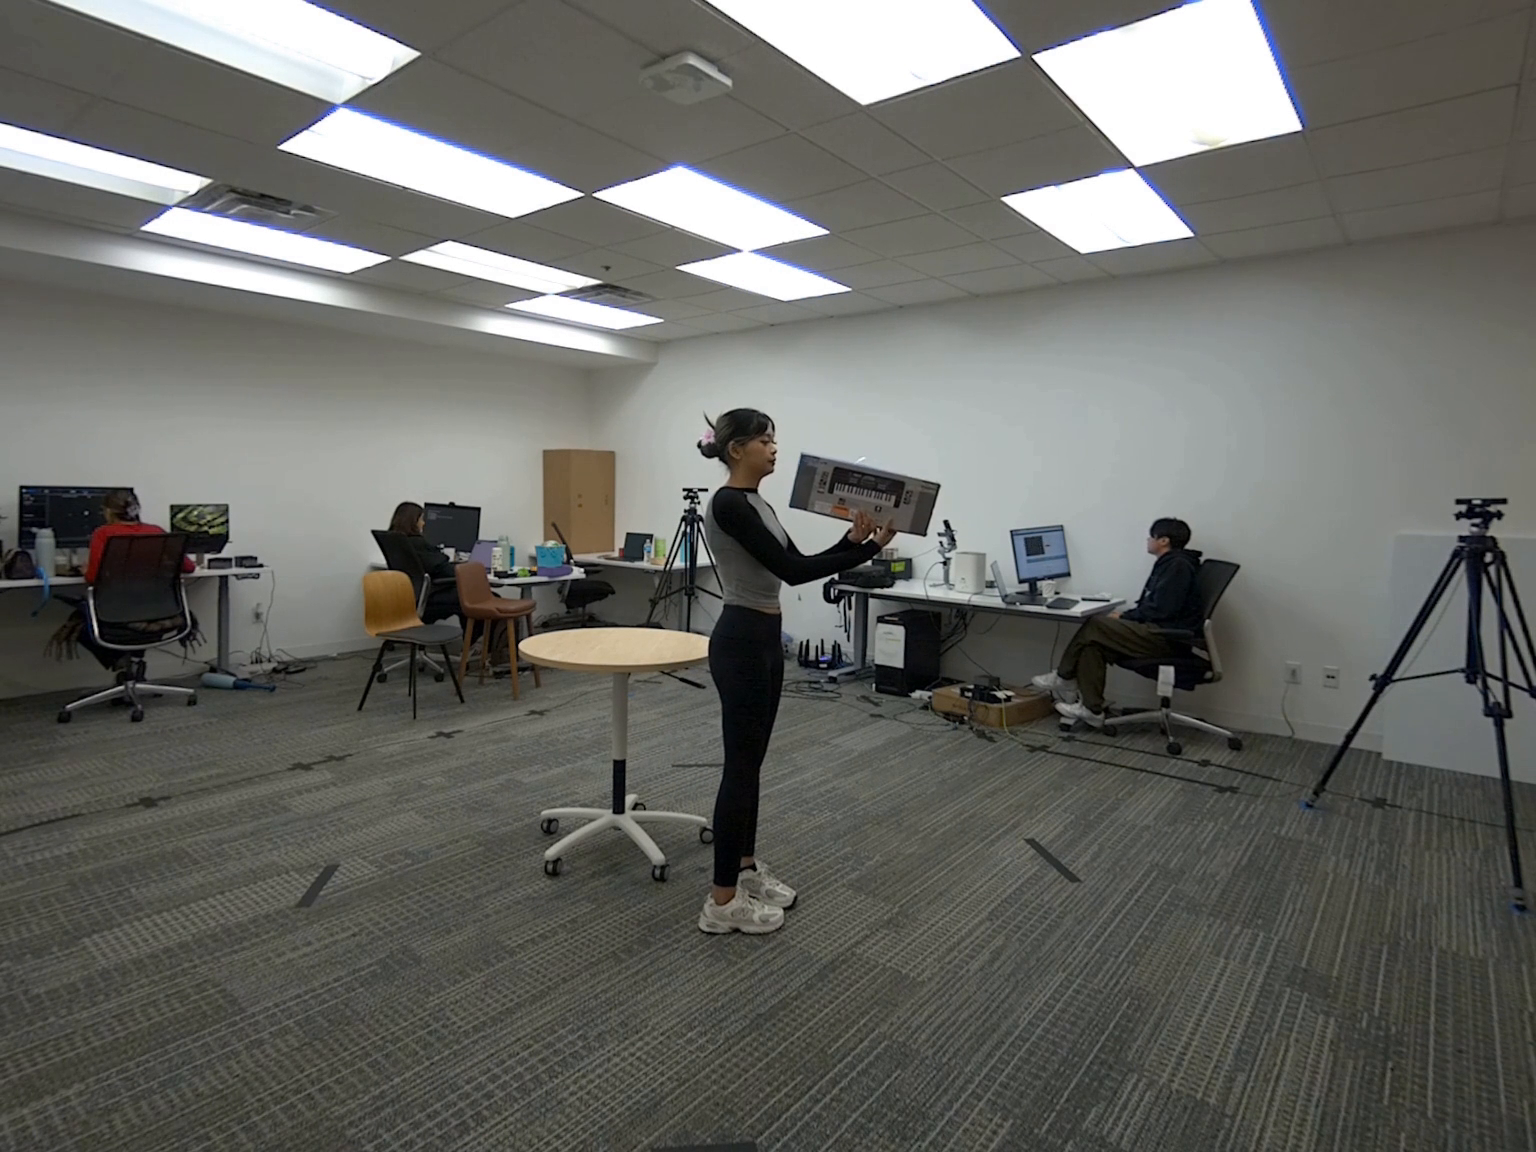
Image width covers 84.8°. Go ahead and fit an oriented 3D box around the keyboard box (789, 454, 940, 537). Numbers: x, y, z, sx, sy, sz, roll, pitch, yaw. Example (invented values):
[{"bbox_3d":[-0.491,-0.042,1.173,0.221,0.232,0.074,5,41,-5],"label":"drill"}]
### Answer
[{"bbox_3d":[0.287,-0.256,2.642,0.436,0.174,0.060,12,13,-2],"label":"keyboard box"}]
